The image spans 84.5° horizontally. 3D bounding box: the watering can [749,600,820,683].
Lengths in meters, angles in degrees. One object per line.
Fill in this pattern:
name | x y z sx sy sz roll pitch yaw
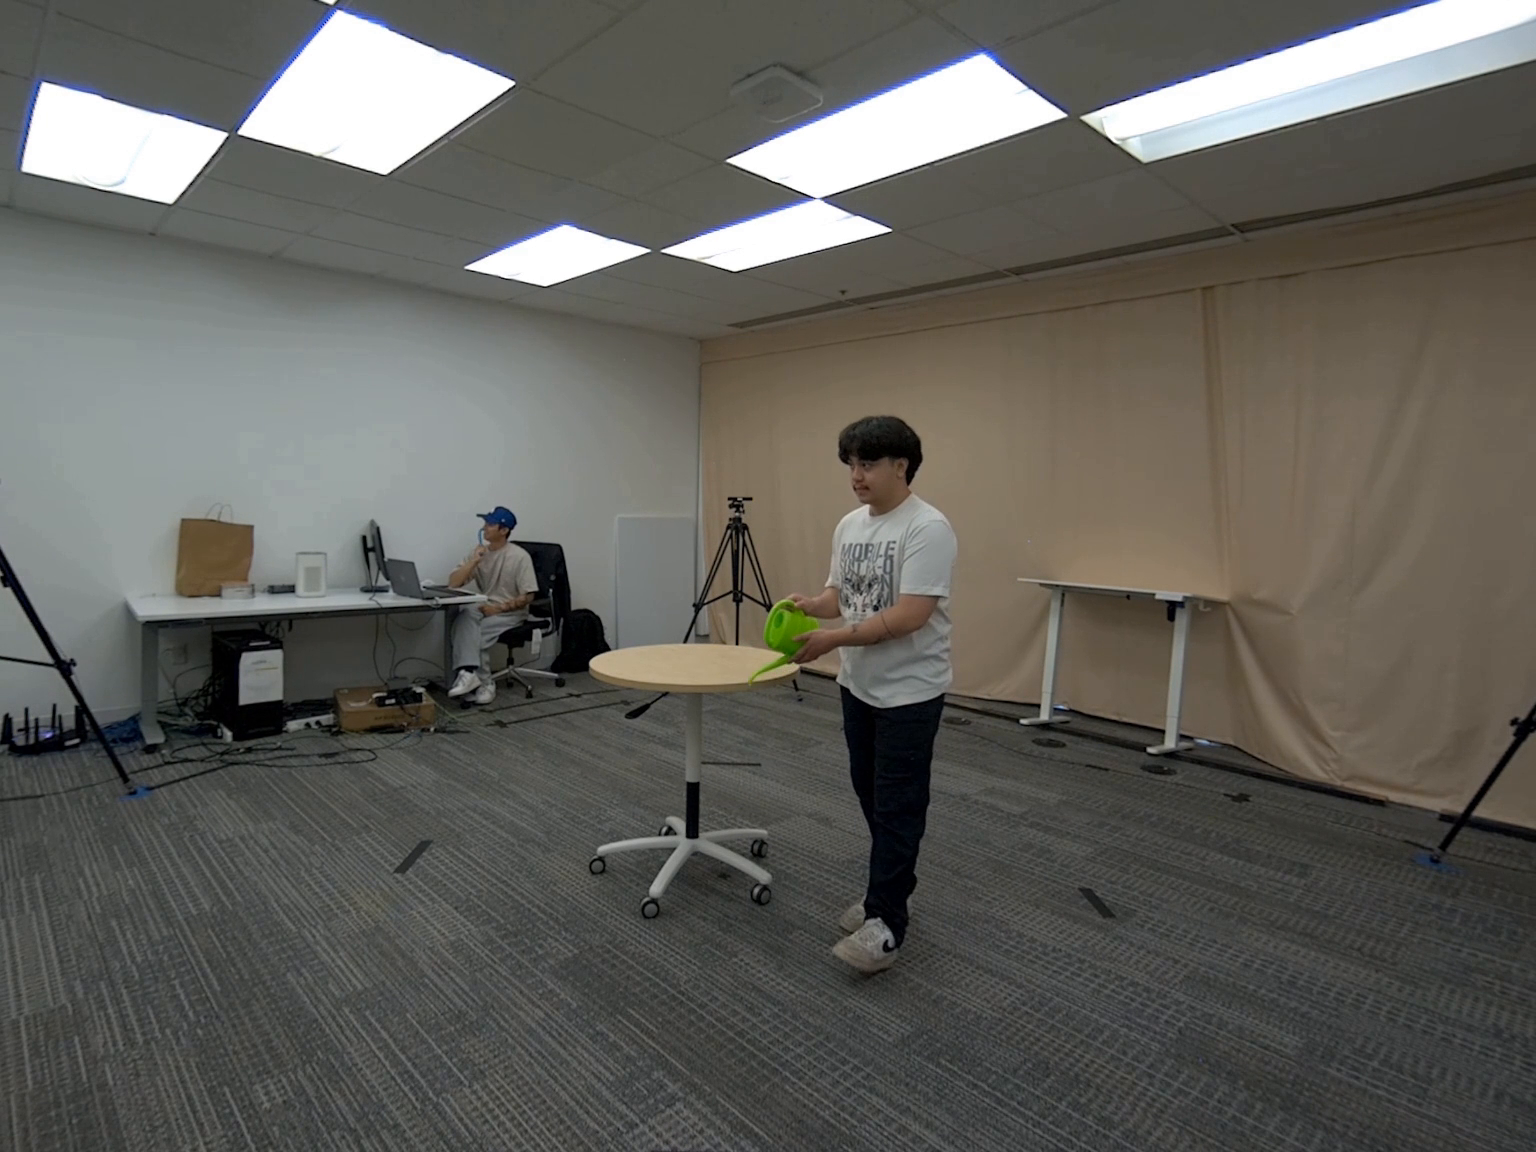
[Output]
watering can | 0.046 0.217 2.615 0.172 0.278 0.100 20 3 -30
